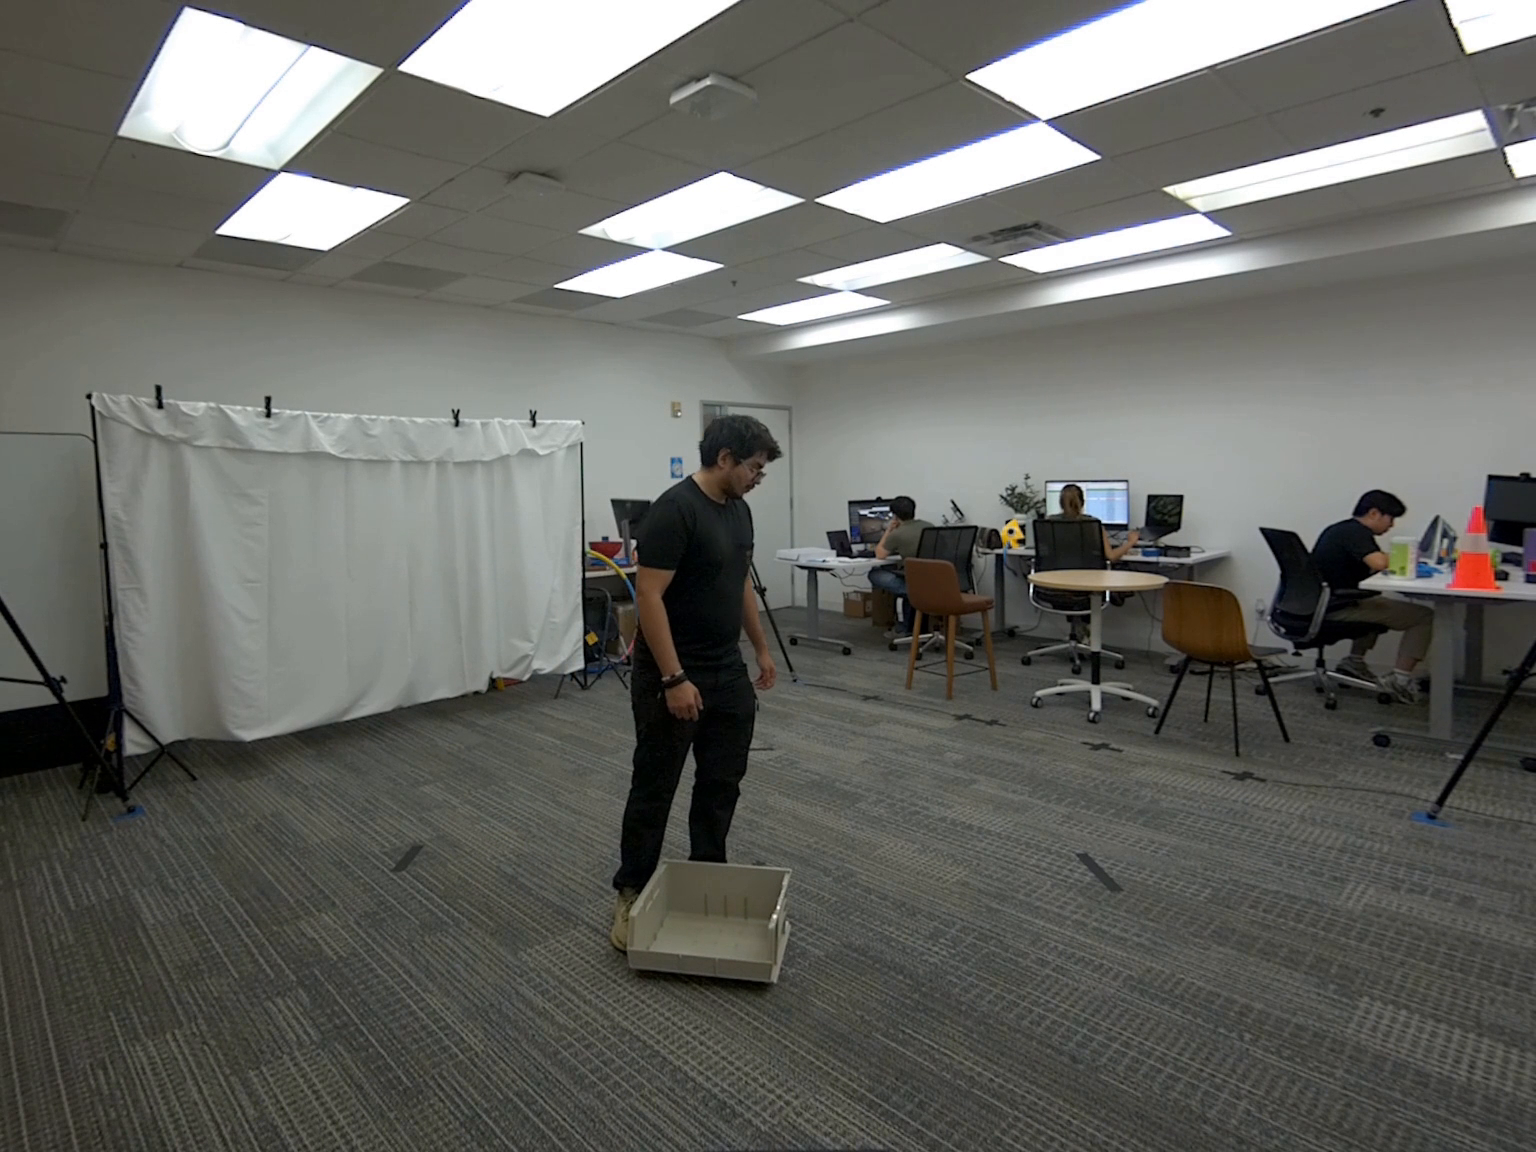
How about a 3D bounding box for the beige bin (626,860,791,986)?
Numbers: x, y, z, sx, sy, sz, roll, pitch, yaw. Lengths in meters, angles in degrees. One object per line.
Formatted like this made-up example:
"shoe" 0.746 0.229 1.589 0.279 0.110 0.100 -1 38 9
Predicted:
"beige bin" -0.157 1.030 2.534 0.428 0.188 0.374 0 5 12
